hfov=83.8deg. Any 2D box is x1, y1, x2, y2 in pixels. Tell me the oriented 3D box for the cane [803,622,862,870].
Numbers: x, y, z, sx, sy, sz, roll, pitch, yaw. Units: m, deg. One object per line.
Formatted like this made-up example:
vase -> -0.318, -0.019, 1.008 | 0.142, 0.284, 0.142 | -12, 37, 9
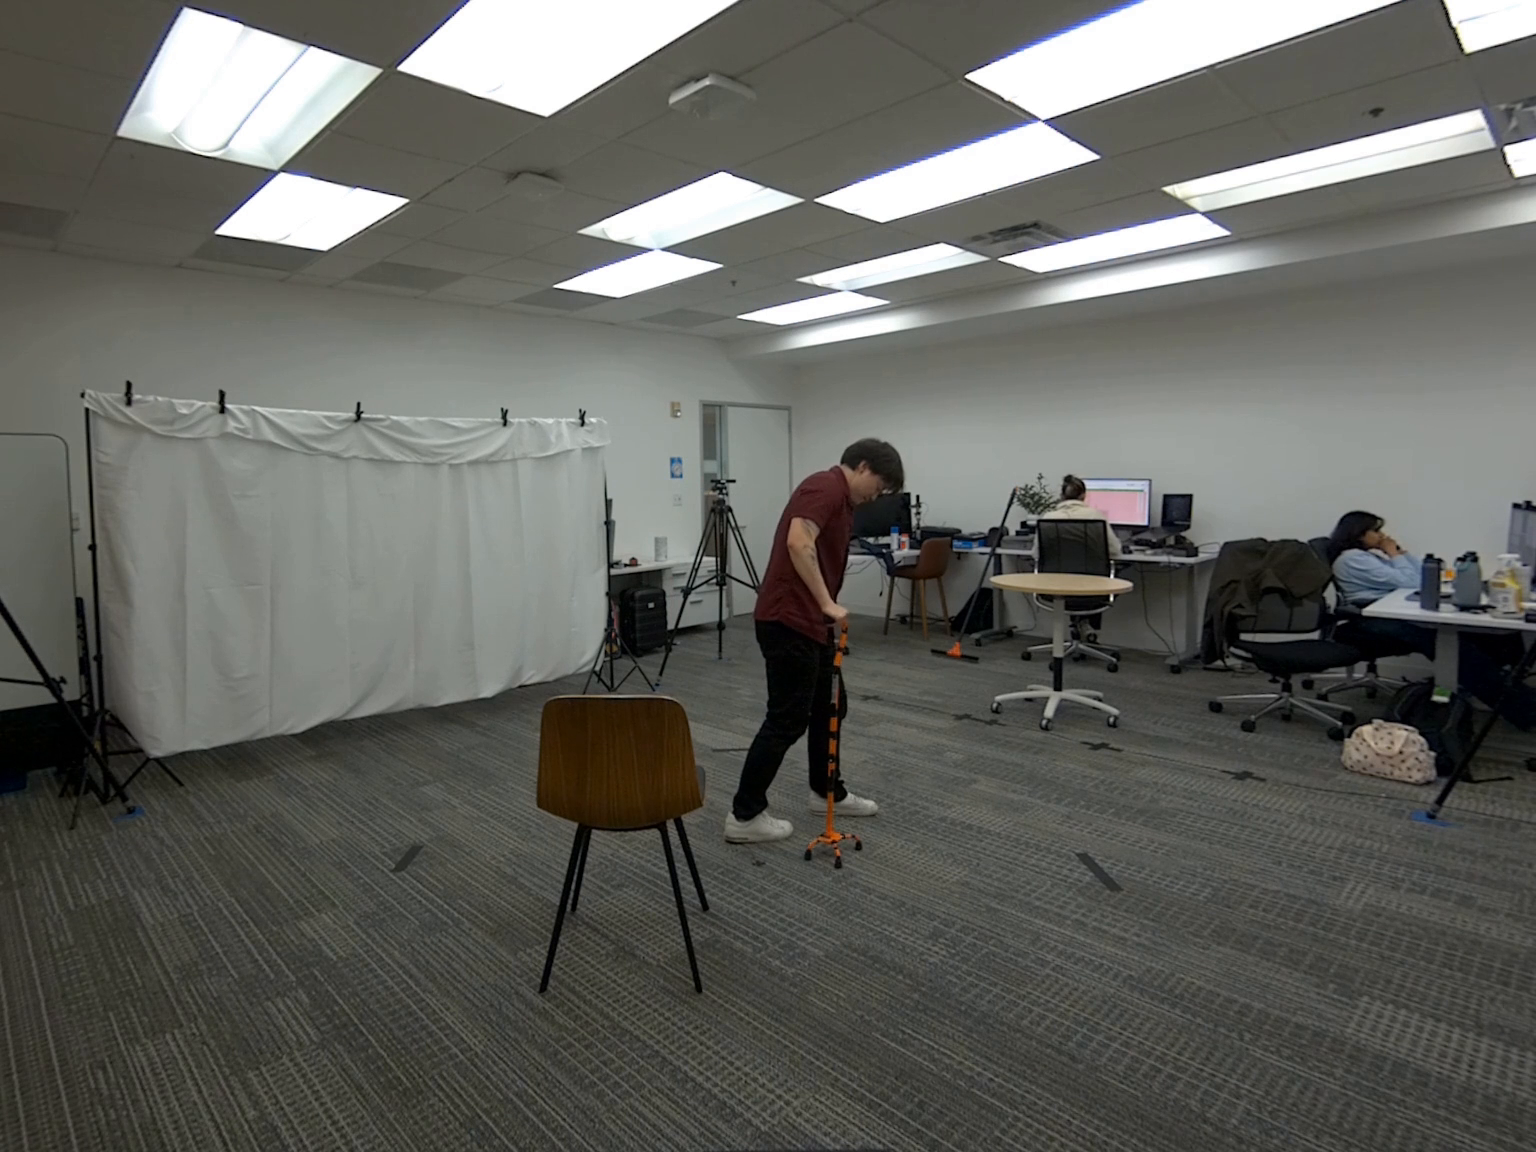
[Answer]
cane -> 0.266, 0.585, 3.125 | 0.156, 0.903, 0.201 | 4, 6, 33
